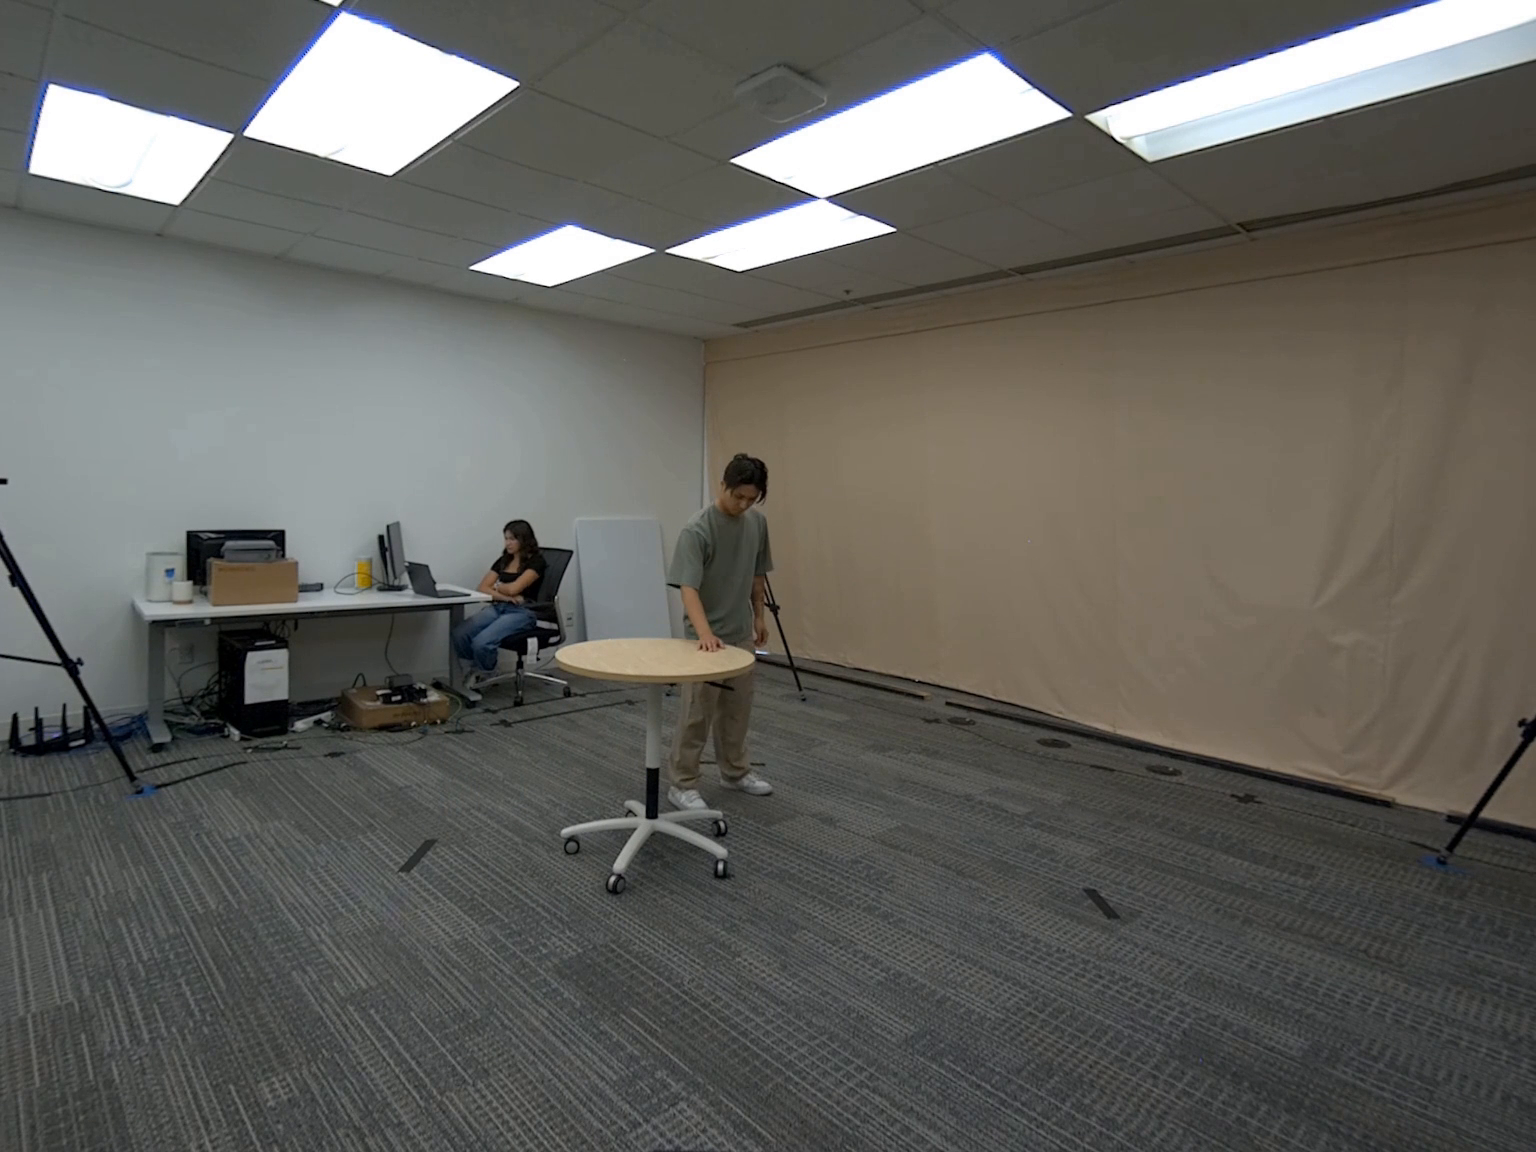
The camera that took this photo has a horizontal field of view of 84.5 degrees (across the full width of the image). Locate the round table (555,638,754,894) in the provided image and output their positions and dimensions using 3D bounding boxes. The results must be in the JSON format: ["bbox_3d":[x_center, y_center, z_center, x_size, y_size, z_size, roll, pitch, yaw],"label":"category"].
[{"bbox_3d":[-0.463,0.700,3.271,0.763,0.792,0.766,1,4,-1],"label":"round table"}]
